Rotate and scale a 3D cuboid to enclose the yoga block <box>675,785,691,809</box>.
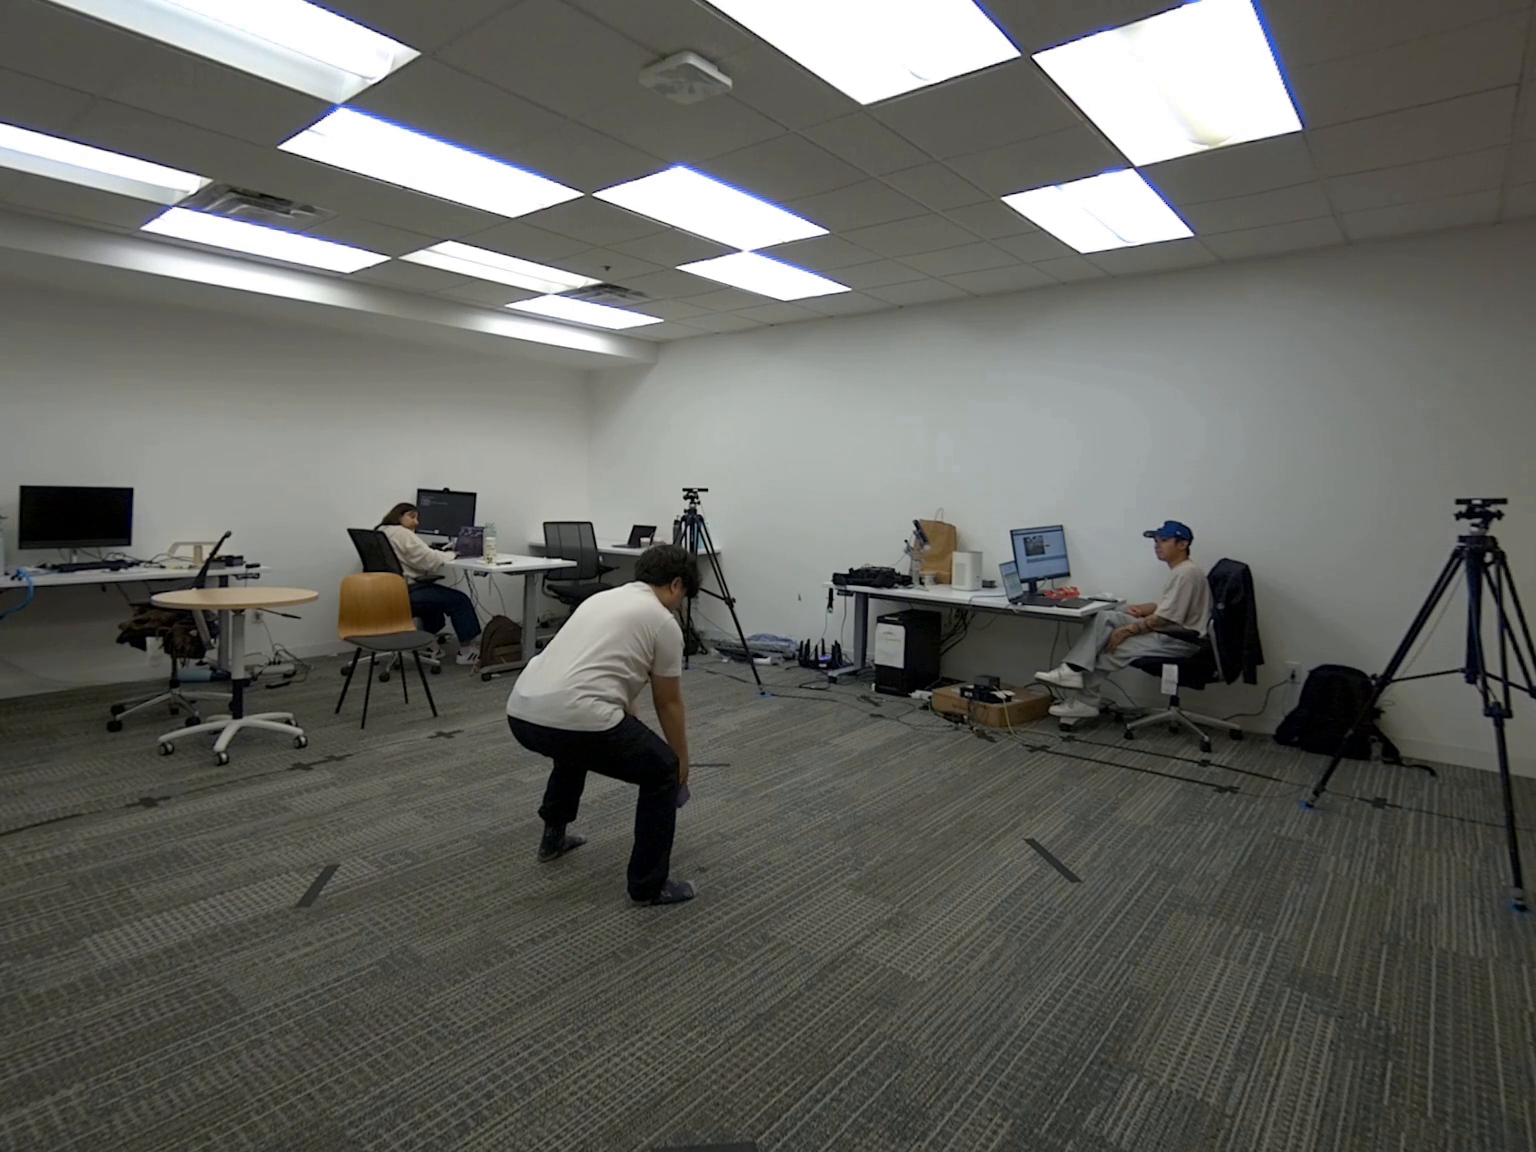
[{"bbox_3d":[-0.402,0.762,3.268,0.154,0.225,0.075,7,23,37],"label":"yoga block"}]
